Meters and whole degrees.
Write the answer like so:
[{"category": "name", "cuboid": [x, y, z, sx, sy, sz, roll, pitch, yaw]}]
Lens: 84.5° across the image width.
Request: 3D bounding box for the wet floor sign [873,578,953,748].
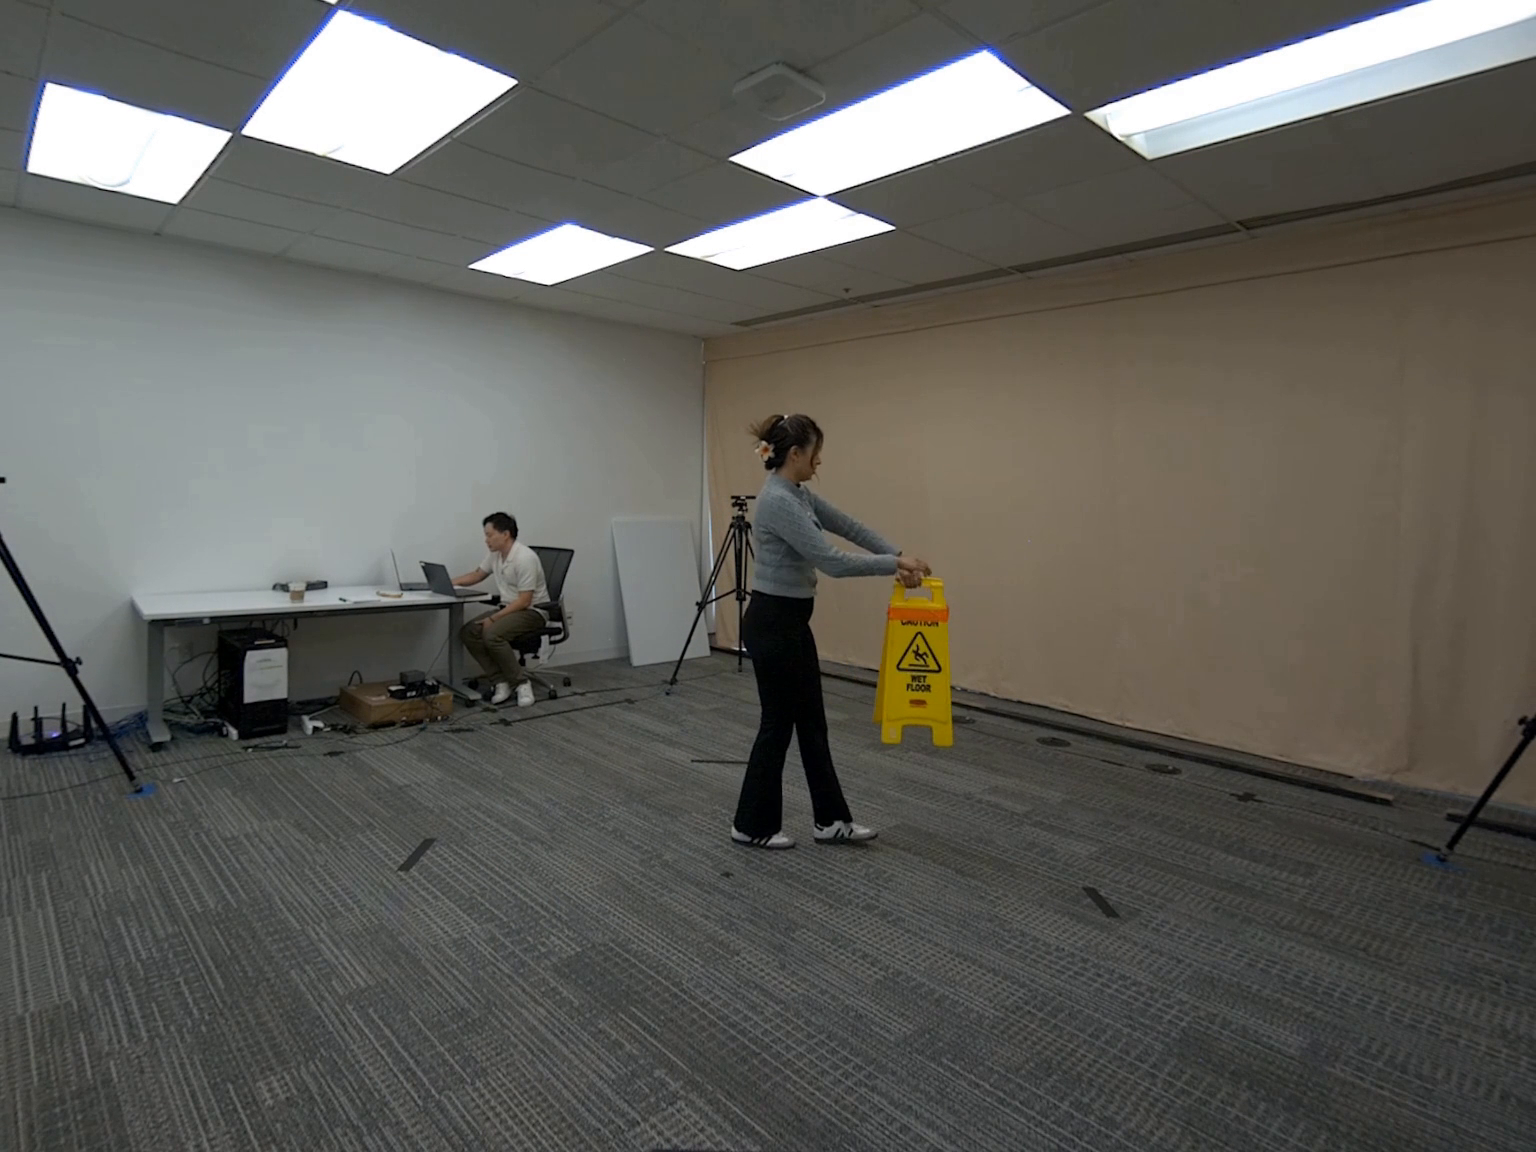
[{"category": "wet floor sign", "cuboid": [0.585, 0.328, 3.431, 0.282, 0.643, 0.290, 2, 5, 1]}]
